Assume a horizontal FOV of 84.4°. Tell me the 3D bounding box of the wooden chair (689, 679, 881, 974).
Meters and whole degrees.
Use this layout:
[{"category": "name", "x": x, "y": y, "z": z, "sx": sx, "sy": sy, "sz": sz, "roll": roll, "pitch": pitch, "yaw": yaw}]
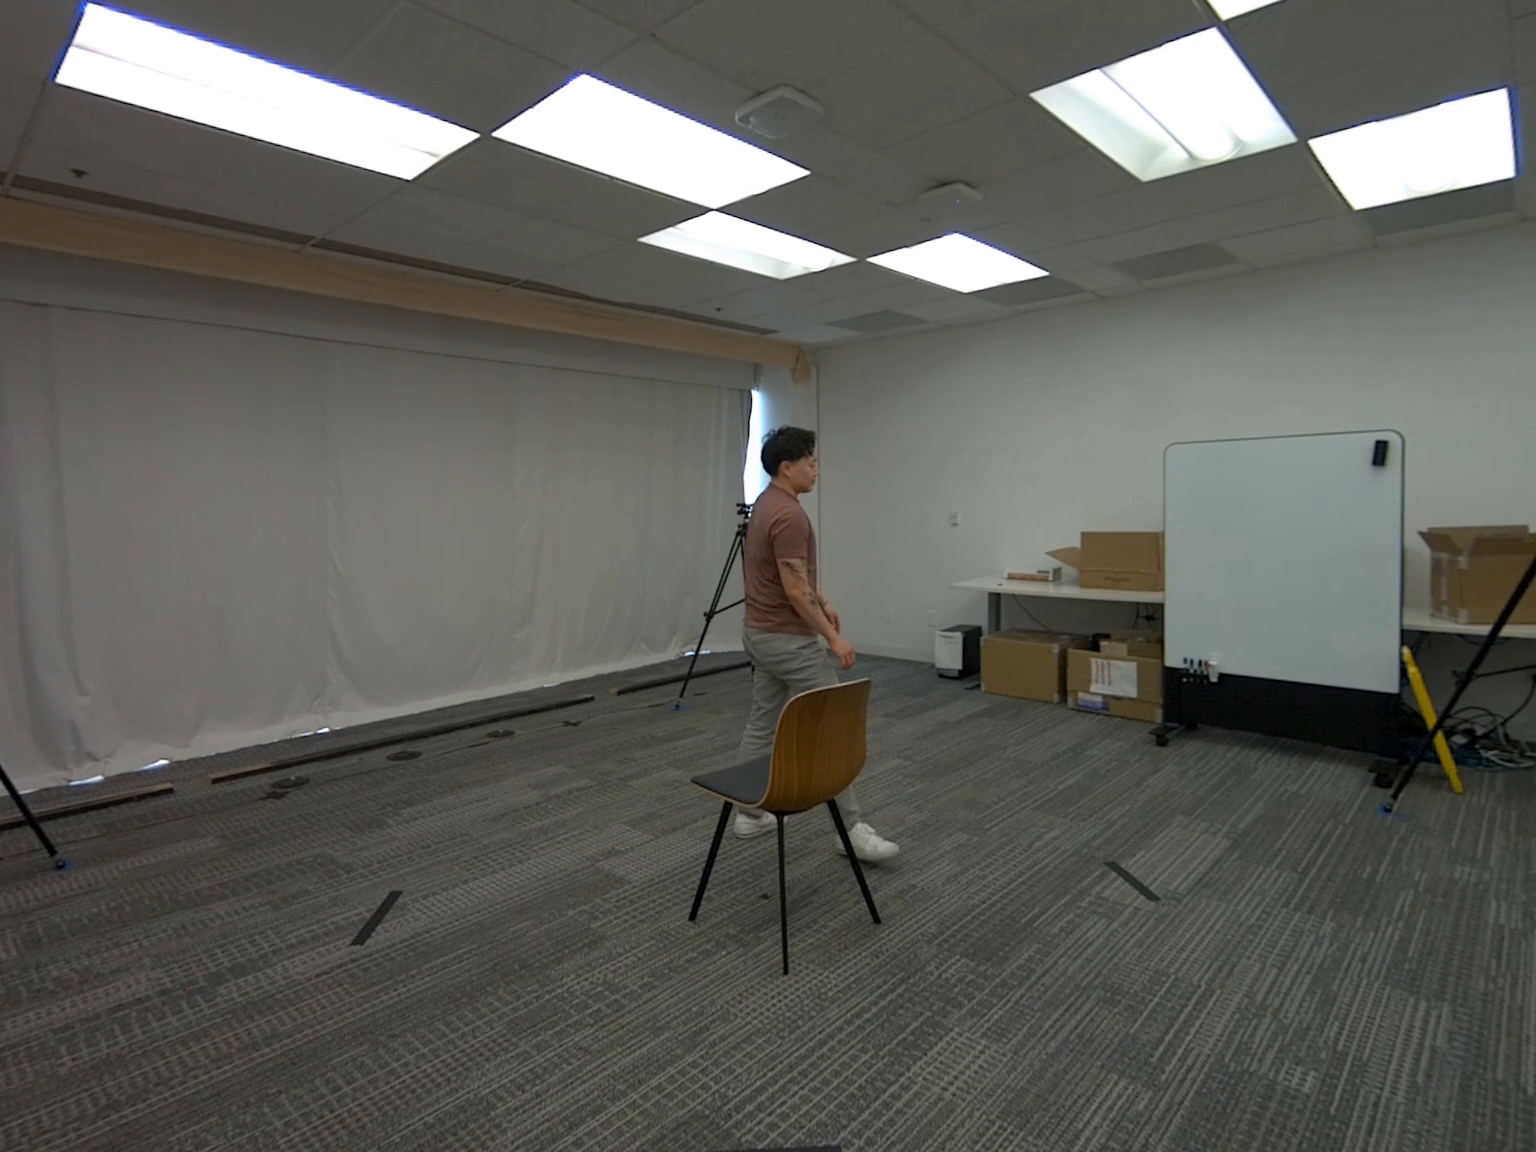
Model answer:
[{"category": "wooden chair", "x": 0.041, "y": 0.722, "z": 2.775, "sx": 0.464, "sy": 0.873, "sz": 0.541, "roll": -5, "pitch": 10, "yaw": -43}]
